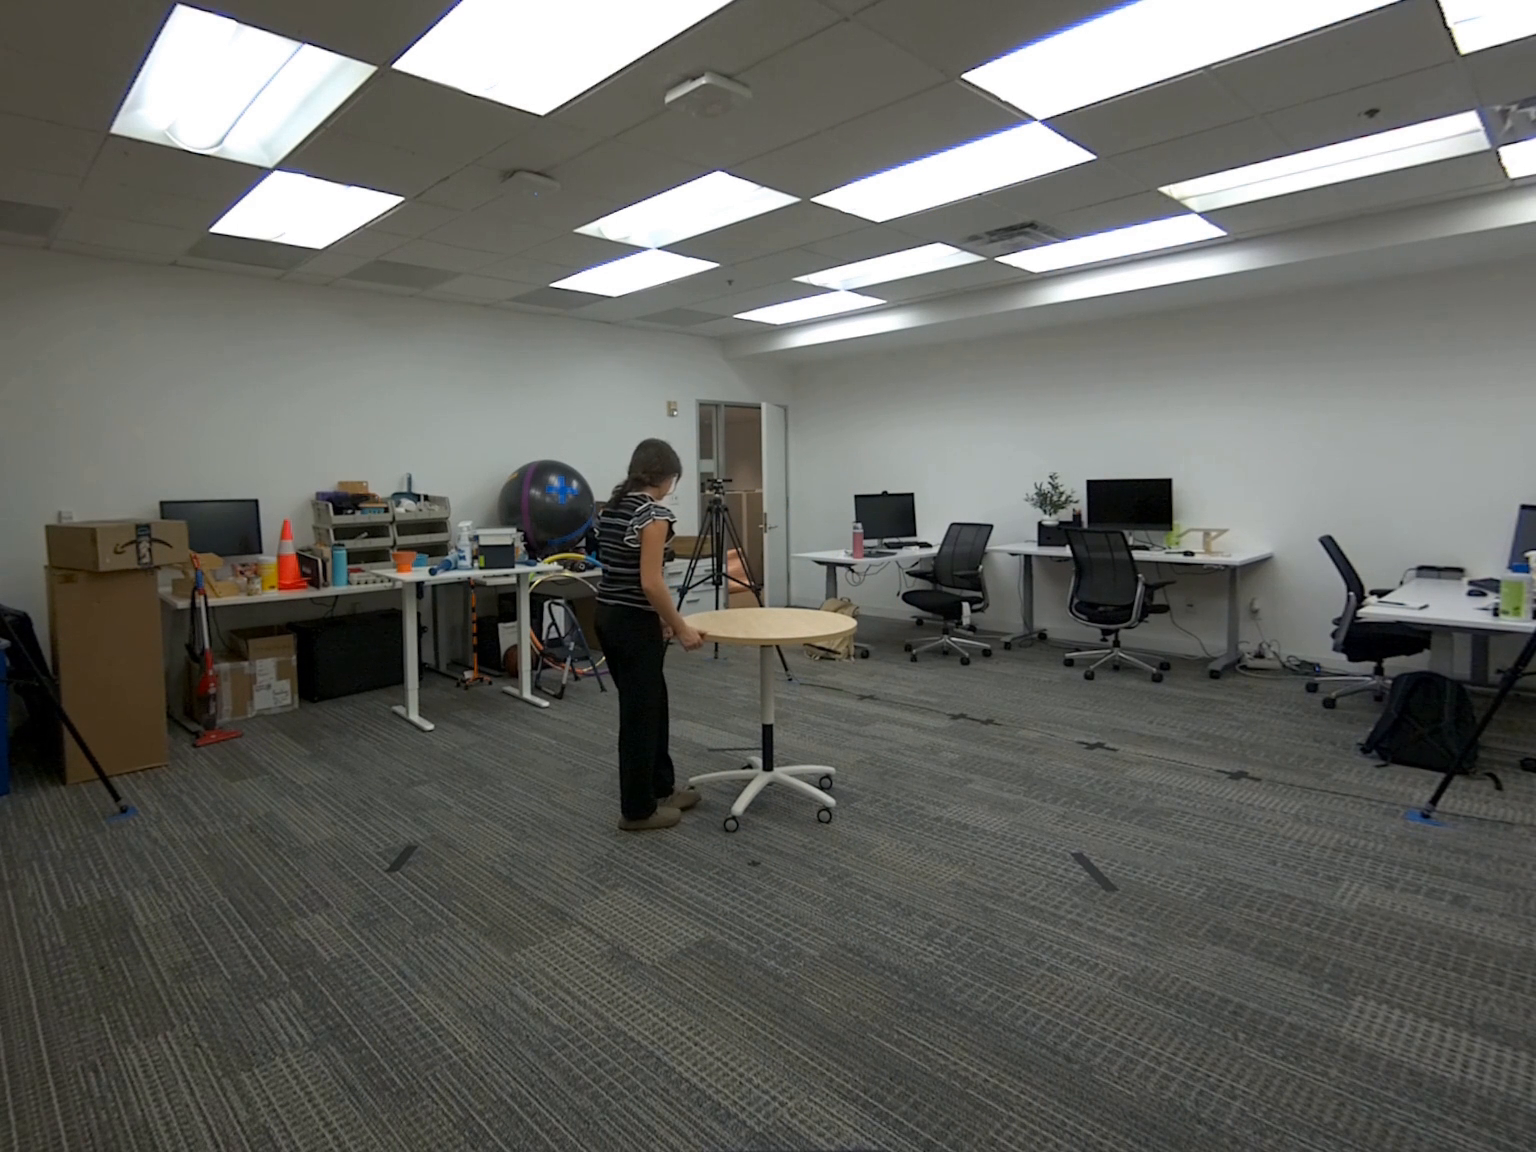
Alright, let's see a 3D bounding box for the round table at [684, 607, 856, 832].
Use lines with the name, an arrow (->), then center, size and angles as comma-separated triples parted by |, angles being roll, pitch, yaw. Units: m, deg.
round table -> -0.011, 0.587, 3.676 | 0.763, 0.791, 0.767 | -1, 4, -2
